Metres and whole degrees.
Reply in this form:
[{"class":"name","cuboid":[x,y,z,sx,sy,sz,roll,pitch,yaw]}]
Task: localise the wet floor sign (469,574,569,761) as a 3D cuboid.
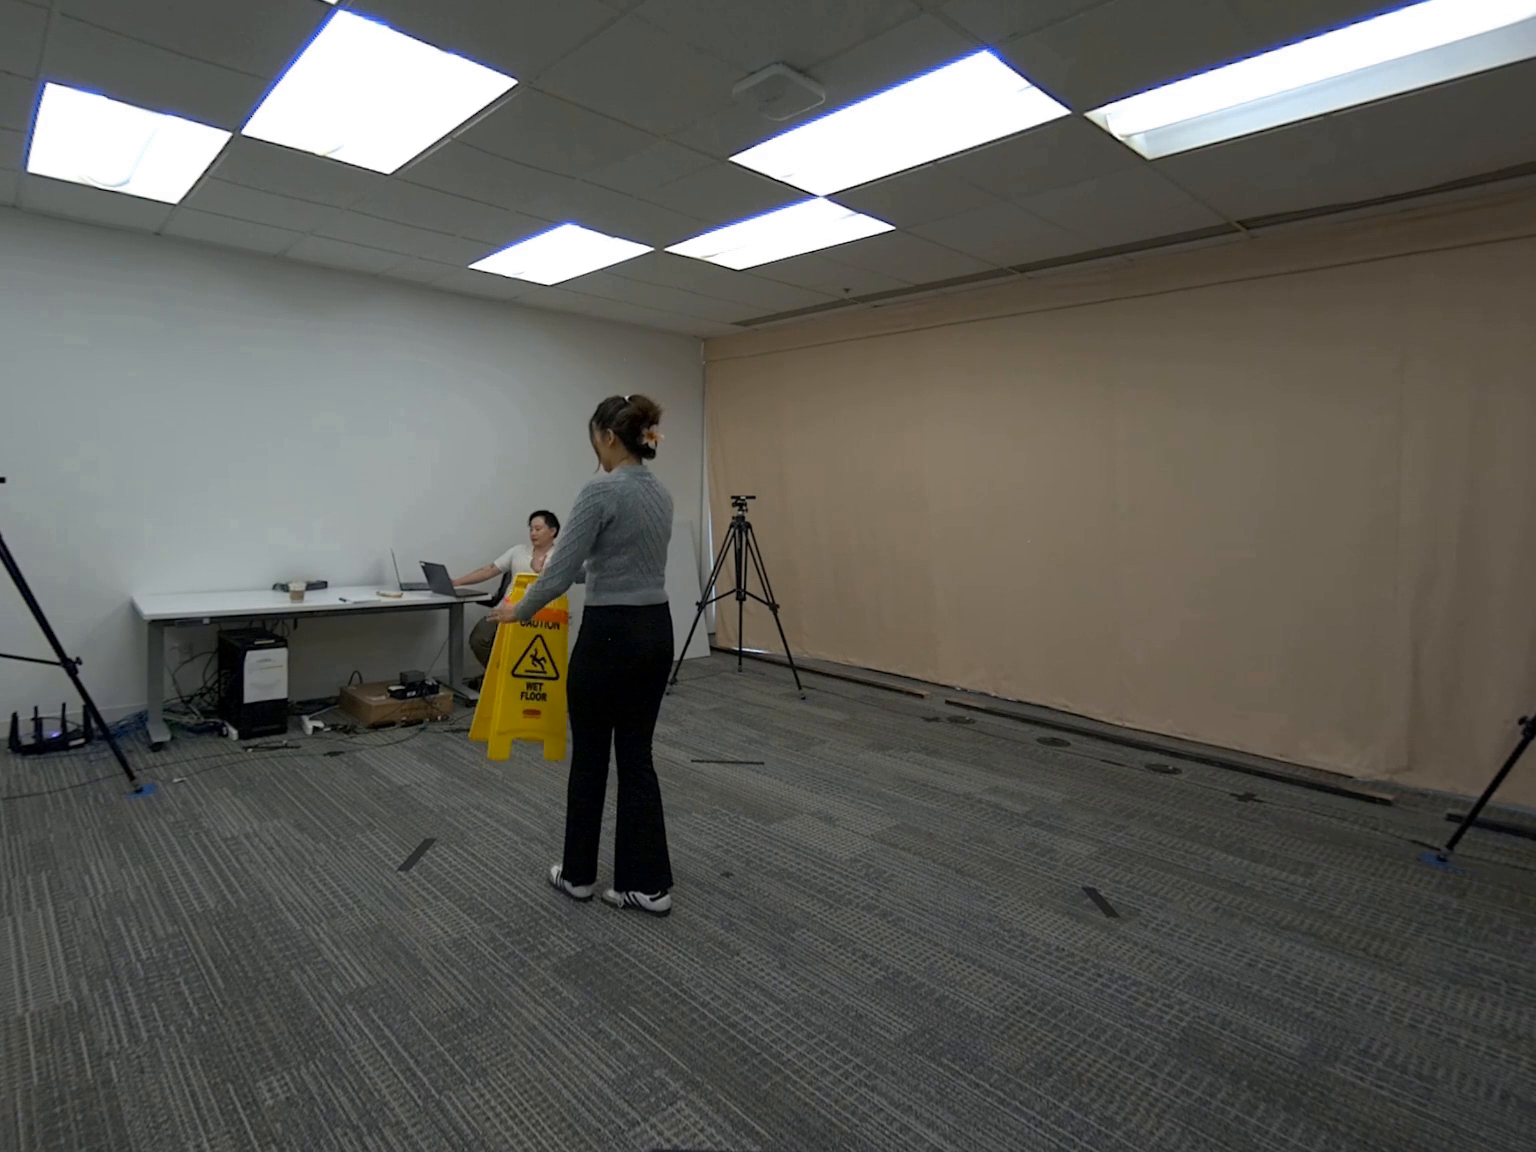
[{"class":"wet floor sign","cuboid":[-0.890,0.316,3.091,0.275,0.647,0.296,10,-4,-31]}]
